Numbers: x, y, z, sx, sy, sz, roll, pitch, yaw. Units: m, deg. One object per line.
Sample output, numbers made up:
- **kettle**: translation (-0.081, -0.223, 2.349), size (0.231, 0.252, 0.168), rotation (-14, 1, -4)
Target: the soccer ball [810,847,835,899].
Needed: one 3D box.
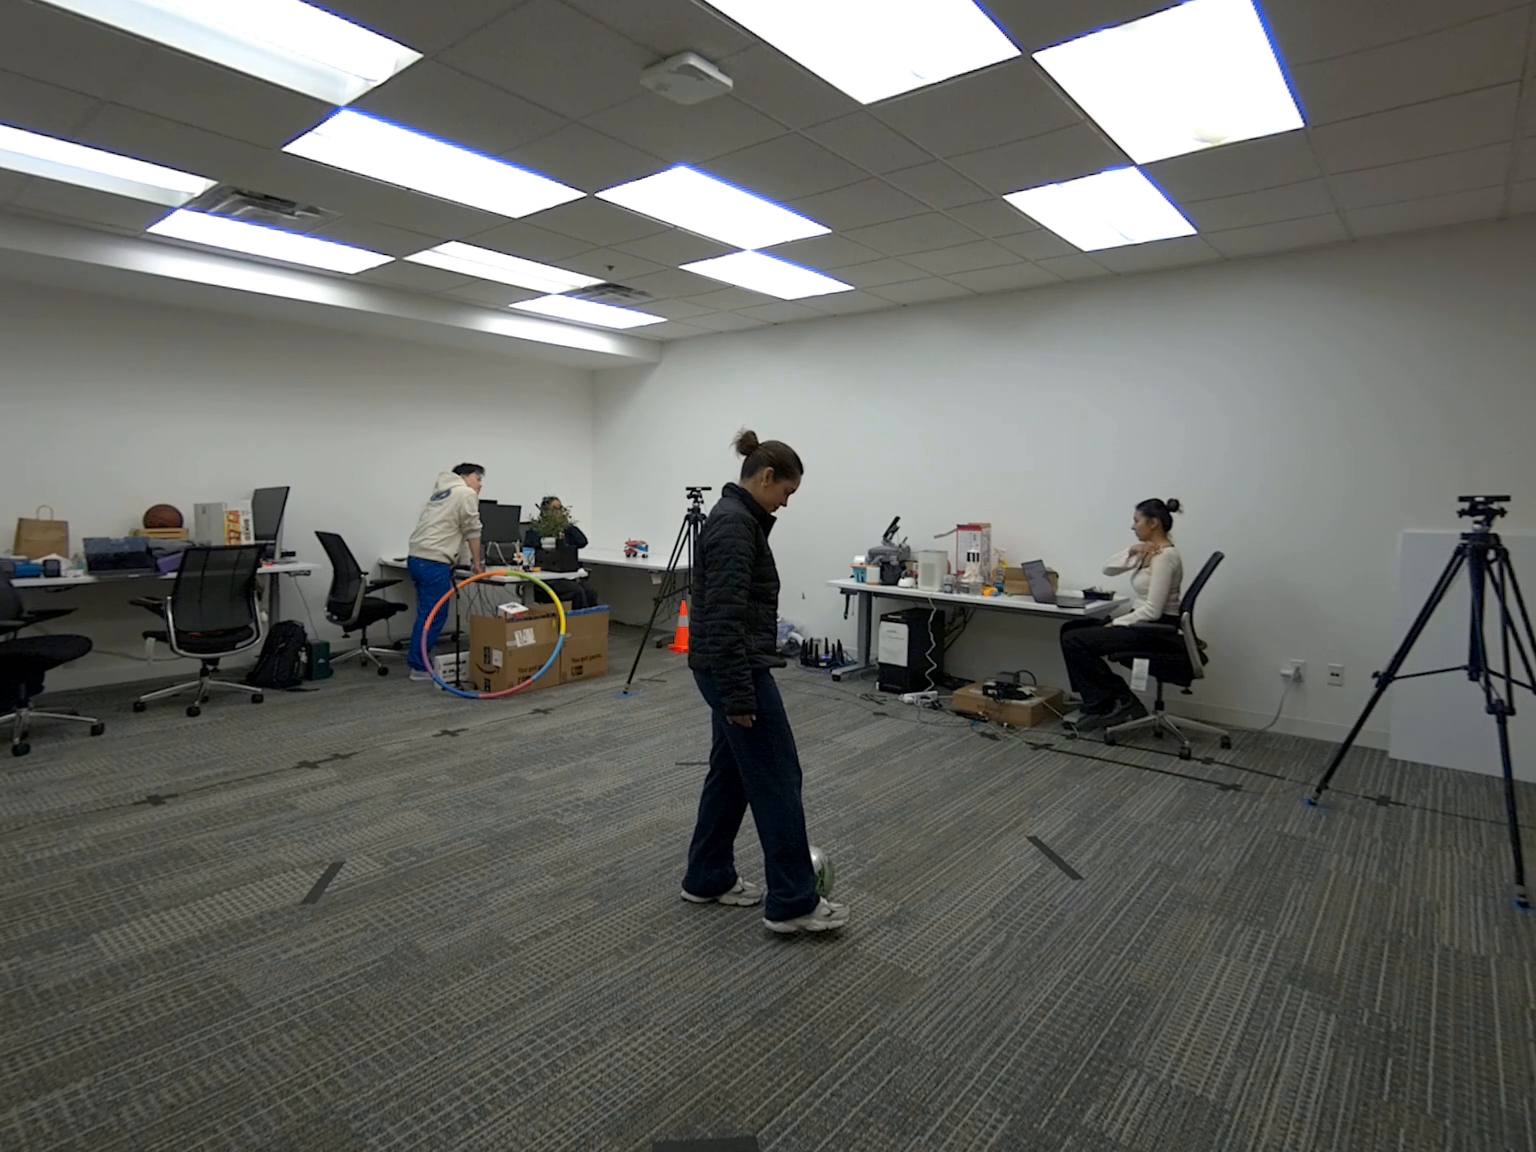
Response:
- **soccer ball**: translation (0.126, 1.002, 2.855), size (0.187, 0.187, 0.188), rotation (1, 4, -2)
